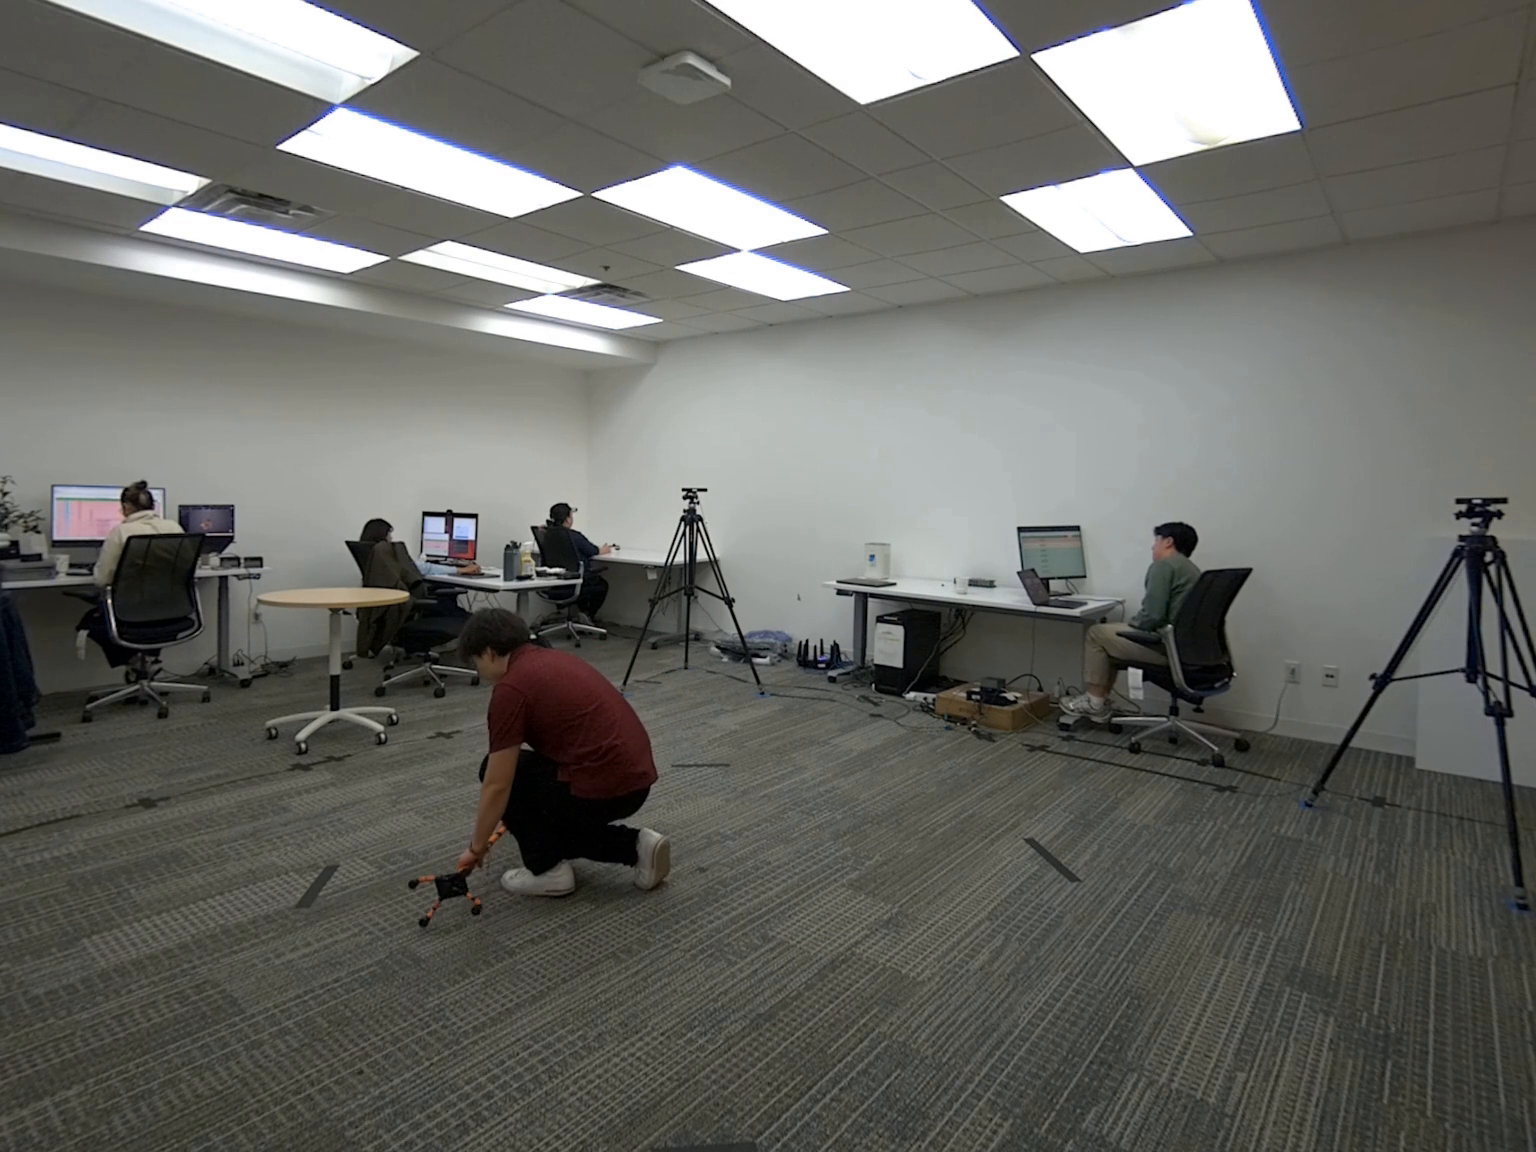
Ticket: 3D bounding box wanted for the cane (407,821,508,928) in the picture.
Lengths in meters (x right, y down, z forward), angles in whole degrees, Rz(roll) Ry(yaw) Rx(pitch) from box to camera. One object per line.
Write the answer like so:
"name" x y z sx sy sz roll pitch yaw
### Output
"cane" -1.005 0.938 3.070 0.207 0.151 0.908 -14 4 3
